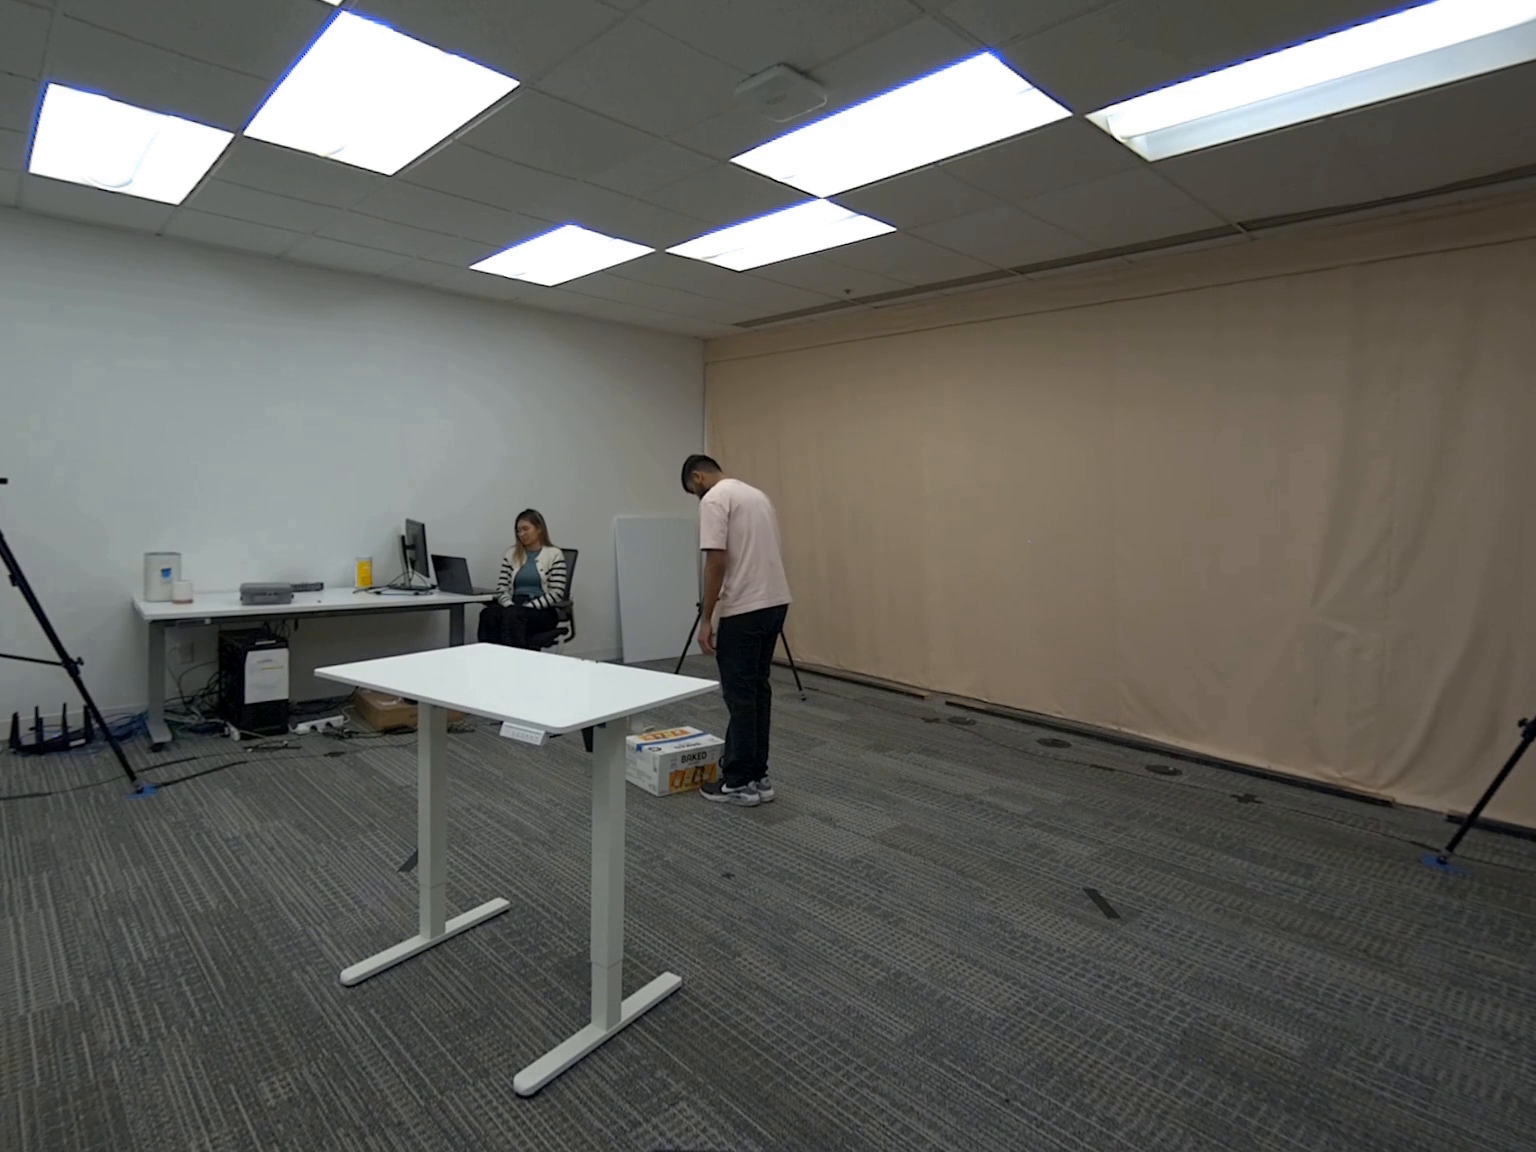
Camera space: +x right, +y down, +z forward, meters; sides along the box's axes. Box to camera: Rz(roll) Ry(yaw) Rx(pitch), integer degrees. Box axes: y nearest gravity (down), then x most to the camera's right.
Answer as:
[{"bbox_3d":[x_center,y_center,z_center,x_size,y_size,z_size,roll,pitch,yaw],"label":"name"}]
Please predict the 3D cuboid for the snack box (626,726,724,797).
[{"bbox_3d":[-0.473,0.907,4.151,0.396,0.205,0.349,-2,5,-39],"label":"snack box"}]
